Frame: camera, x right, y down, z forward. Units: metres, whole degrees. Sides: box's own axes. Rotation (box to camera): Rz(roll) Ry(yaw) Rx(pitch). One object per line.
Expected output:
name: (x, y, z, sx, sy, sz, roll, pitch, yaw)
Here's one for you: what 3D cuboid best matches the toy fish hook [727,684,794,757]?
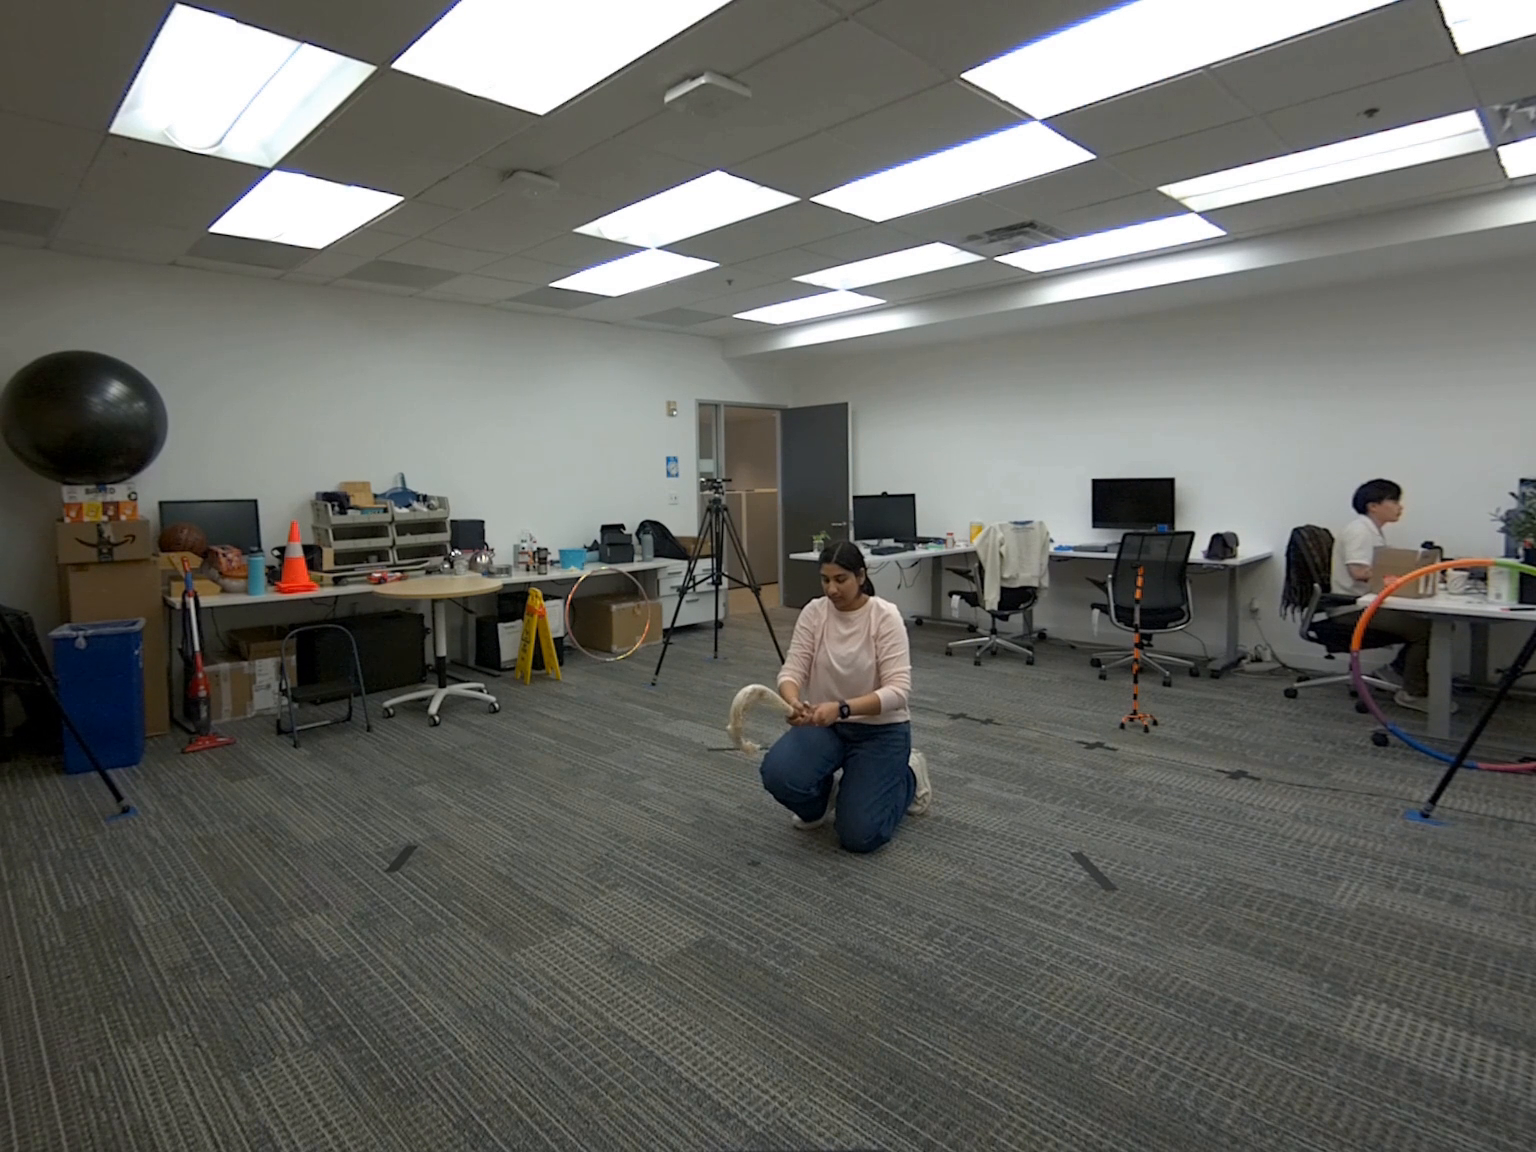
toy fish hook: (0.026, 0.493, 2.882, 0.050, 0.225, 0.488, 13, -7, 42)
